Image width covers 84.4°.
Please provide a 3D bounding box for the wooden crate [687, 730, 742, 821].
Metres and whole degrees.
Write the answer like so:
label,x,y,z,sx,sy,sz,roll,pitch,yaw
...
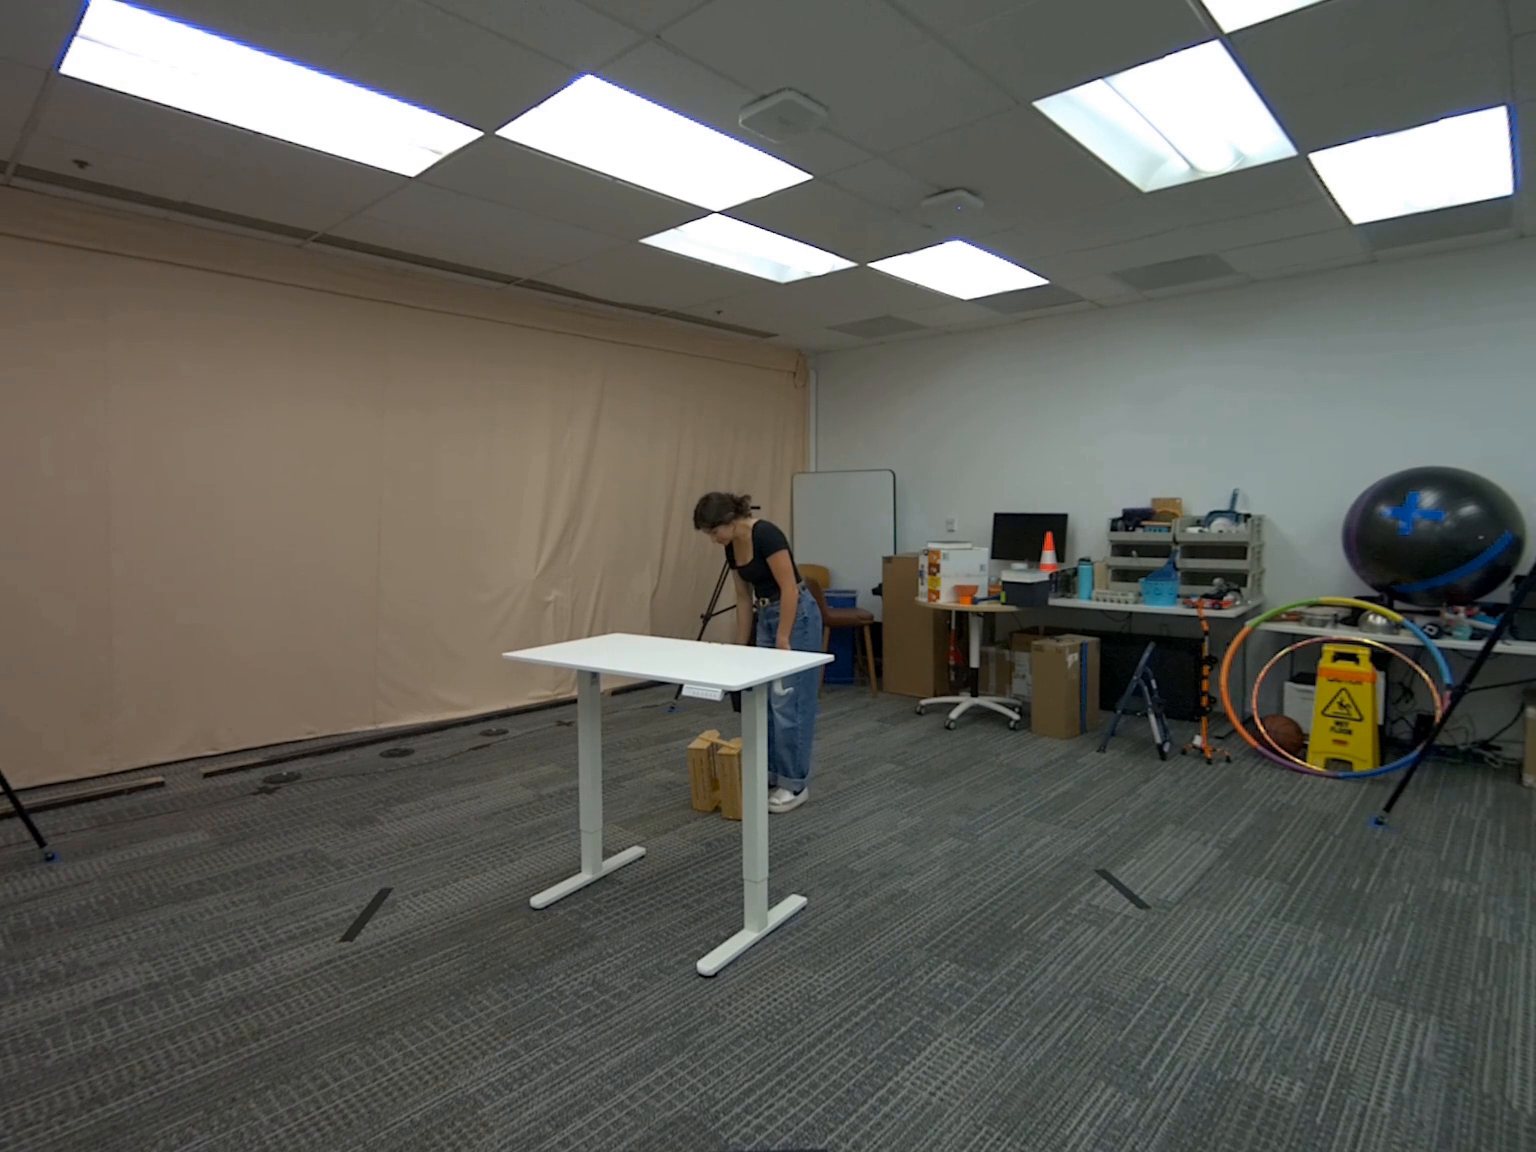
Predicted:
label,x,y,z,sx,sy,sz,roll,pitch,yaw
wooden crate,-0.204,0.909,3.890,0.279,0.323,0.297,-2,8,20
